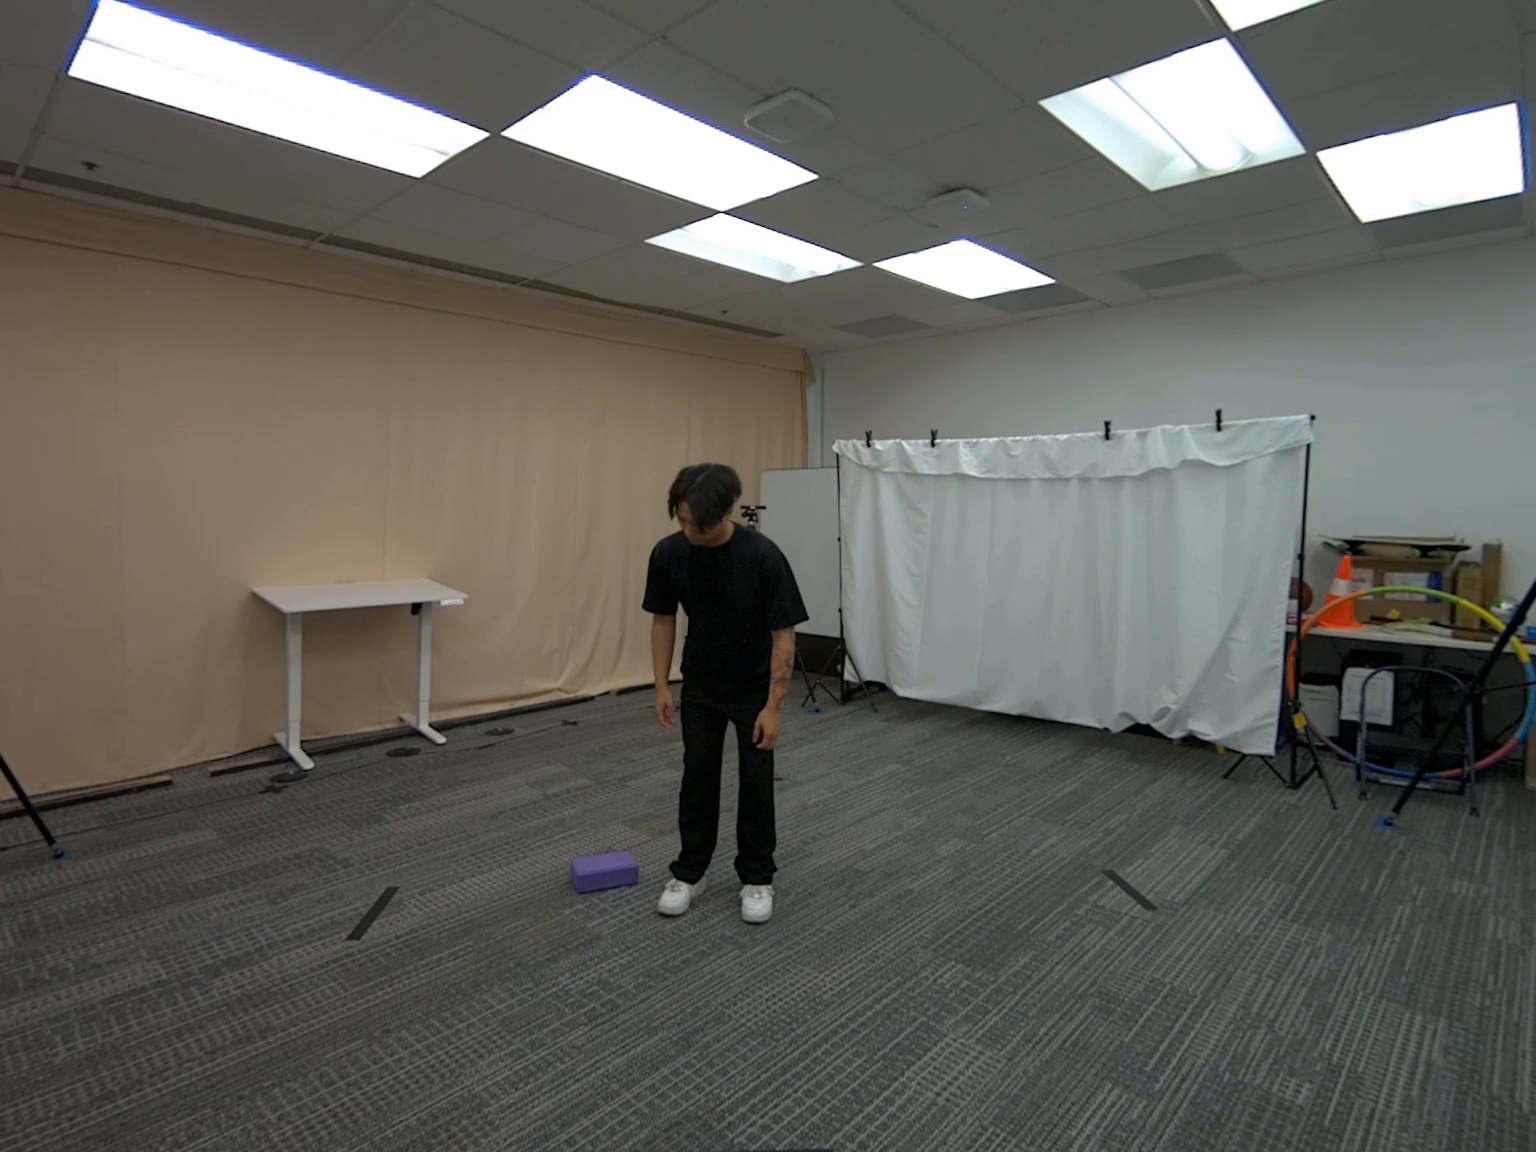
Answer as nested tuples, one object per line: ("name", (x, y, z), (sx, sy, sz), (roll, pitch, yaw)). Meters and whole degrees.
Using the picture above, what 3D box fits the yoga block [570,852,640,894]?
("yoga block", (-0.609, 1.098, 3.126), (0.225, 0.076, 0.152), (-1, 5, -19))
